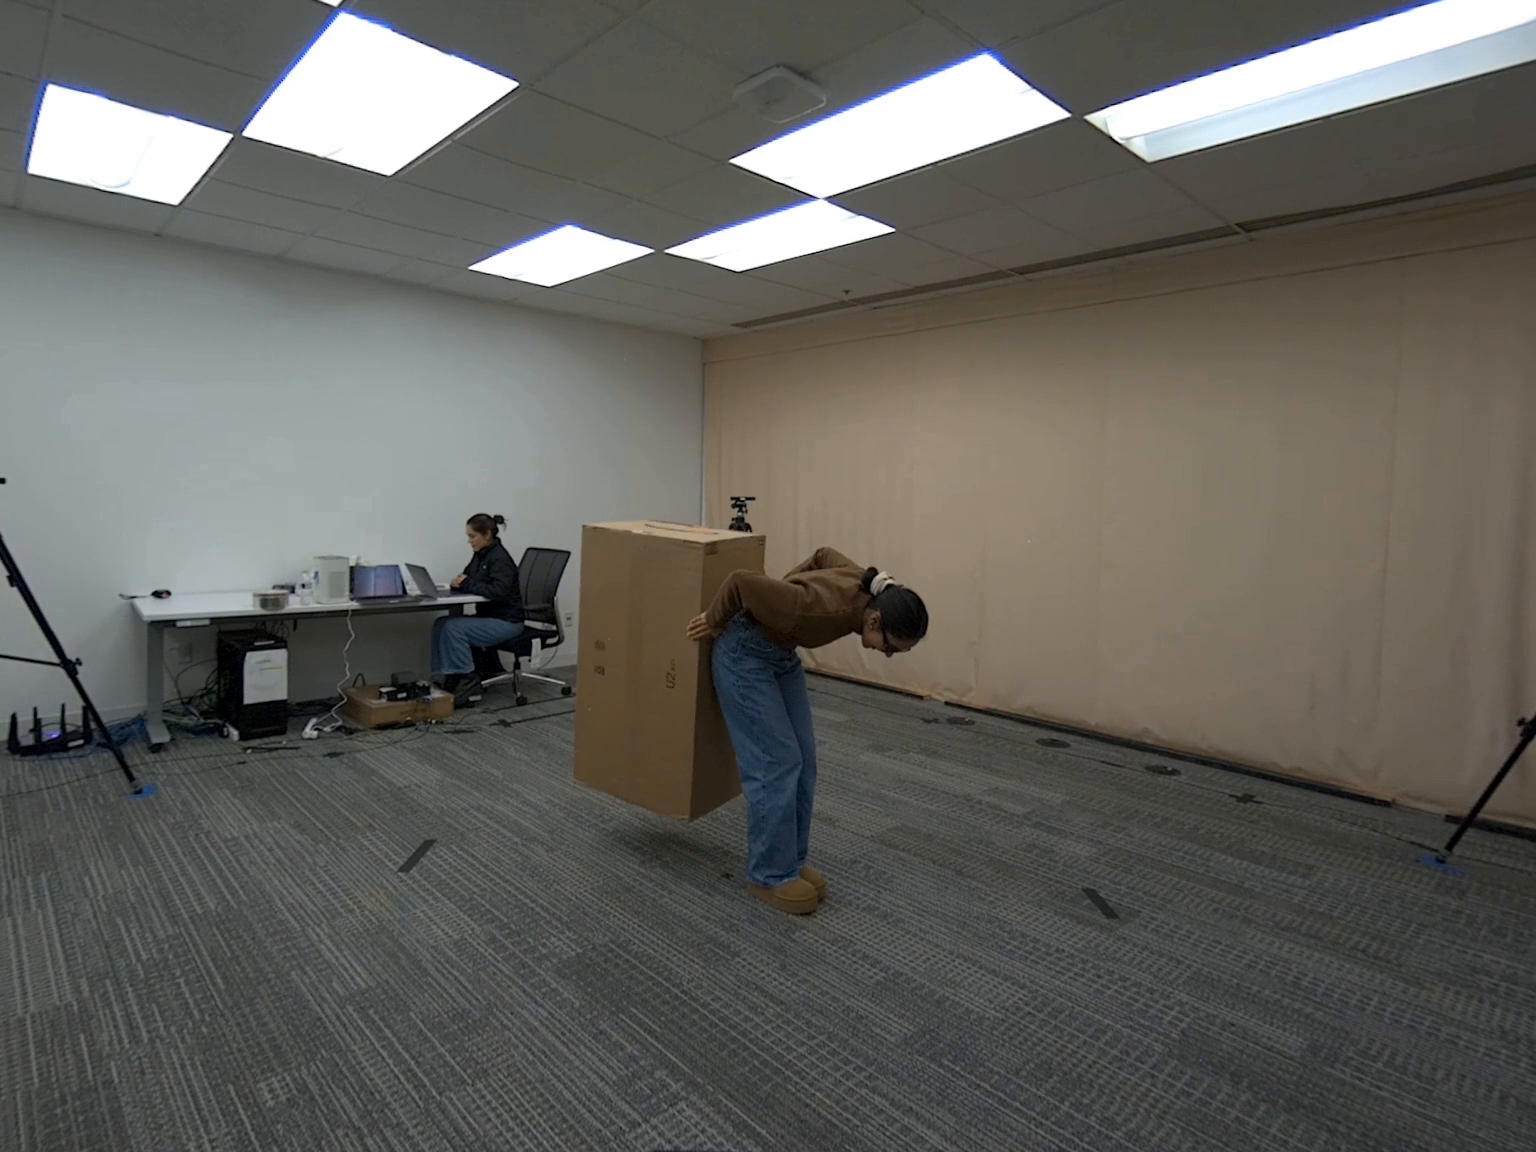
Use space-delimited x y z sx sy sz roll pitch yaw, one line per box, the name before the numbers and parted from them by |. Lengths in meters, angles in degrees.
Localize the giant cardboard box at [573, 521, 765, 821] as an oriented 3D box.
giant cardboard box | -0.392 0.344 3.289 0.598 1.021 0.439 8 9 31
